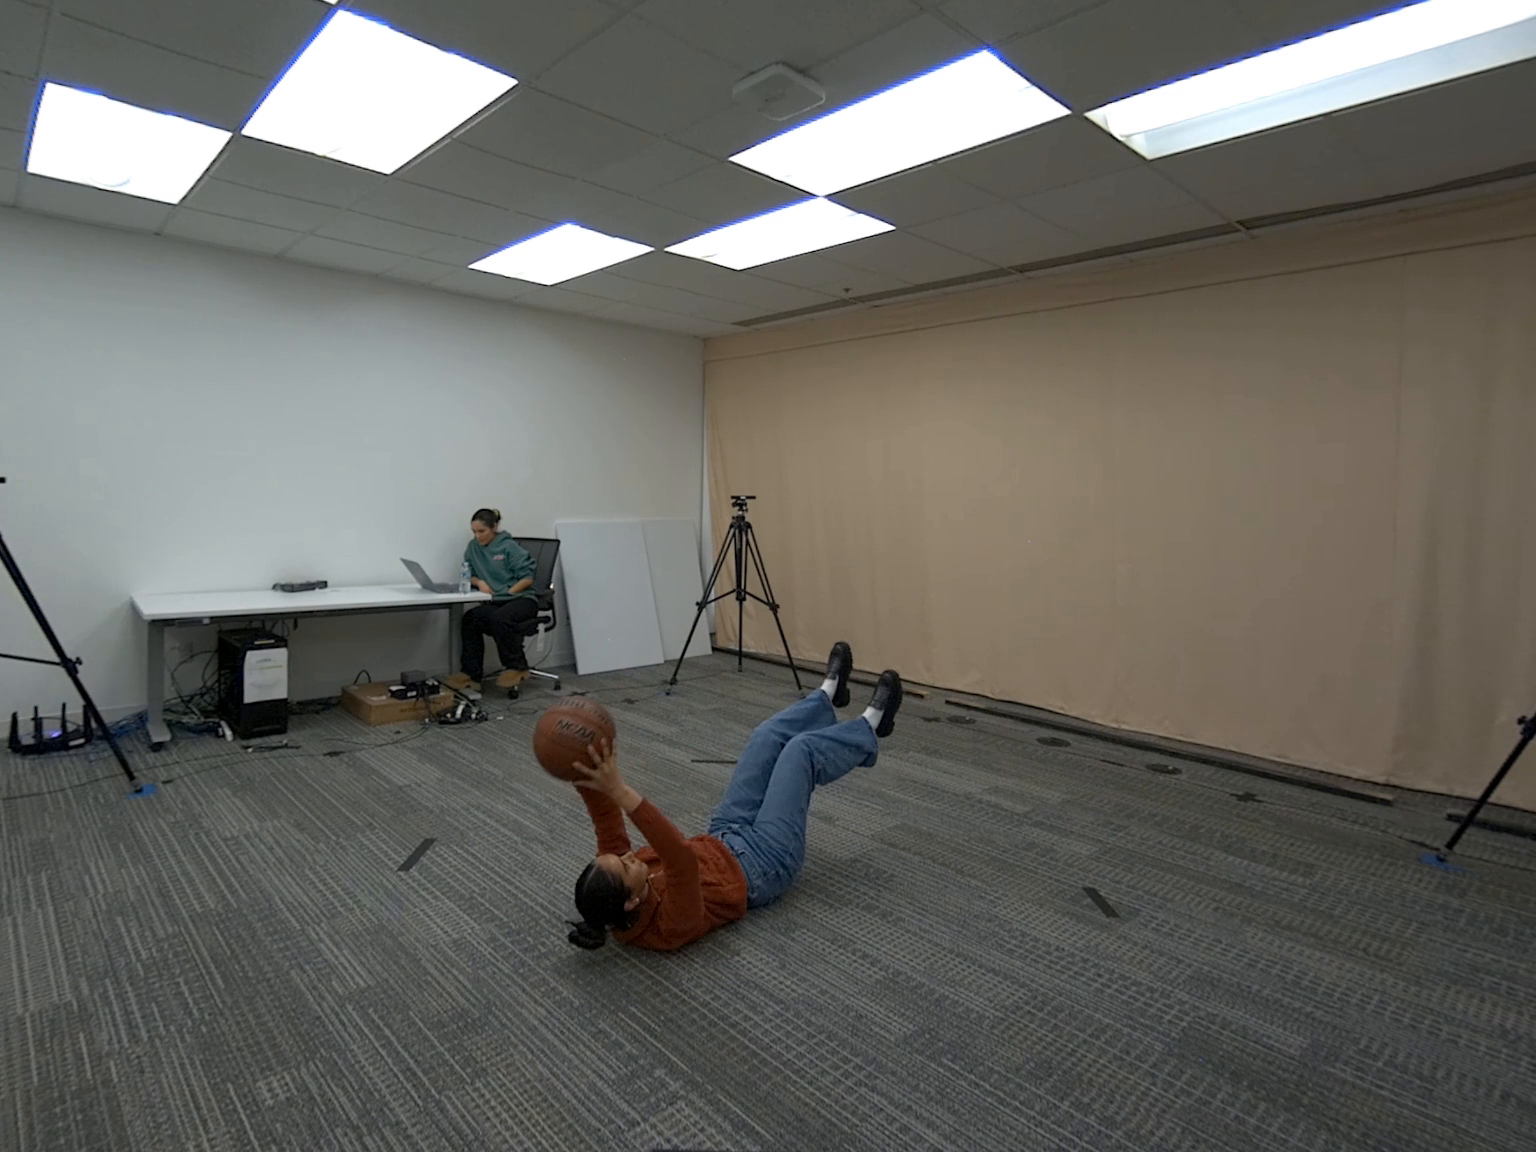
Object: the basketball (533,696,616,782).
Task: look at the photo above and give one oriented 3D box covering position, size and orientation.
[{"bbox_3d":[-0.557,0.480,2.413,0.236,0.234,0.237,0,8,-1],"label":"basketball"}]
